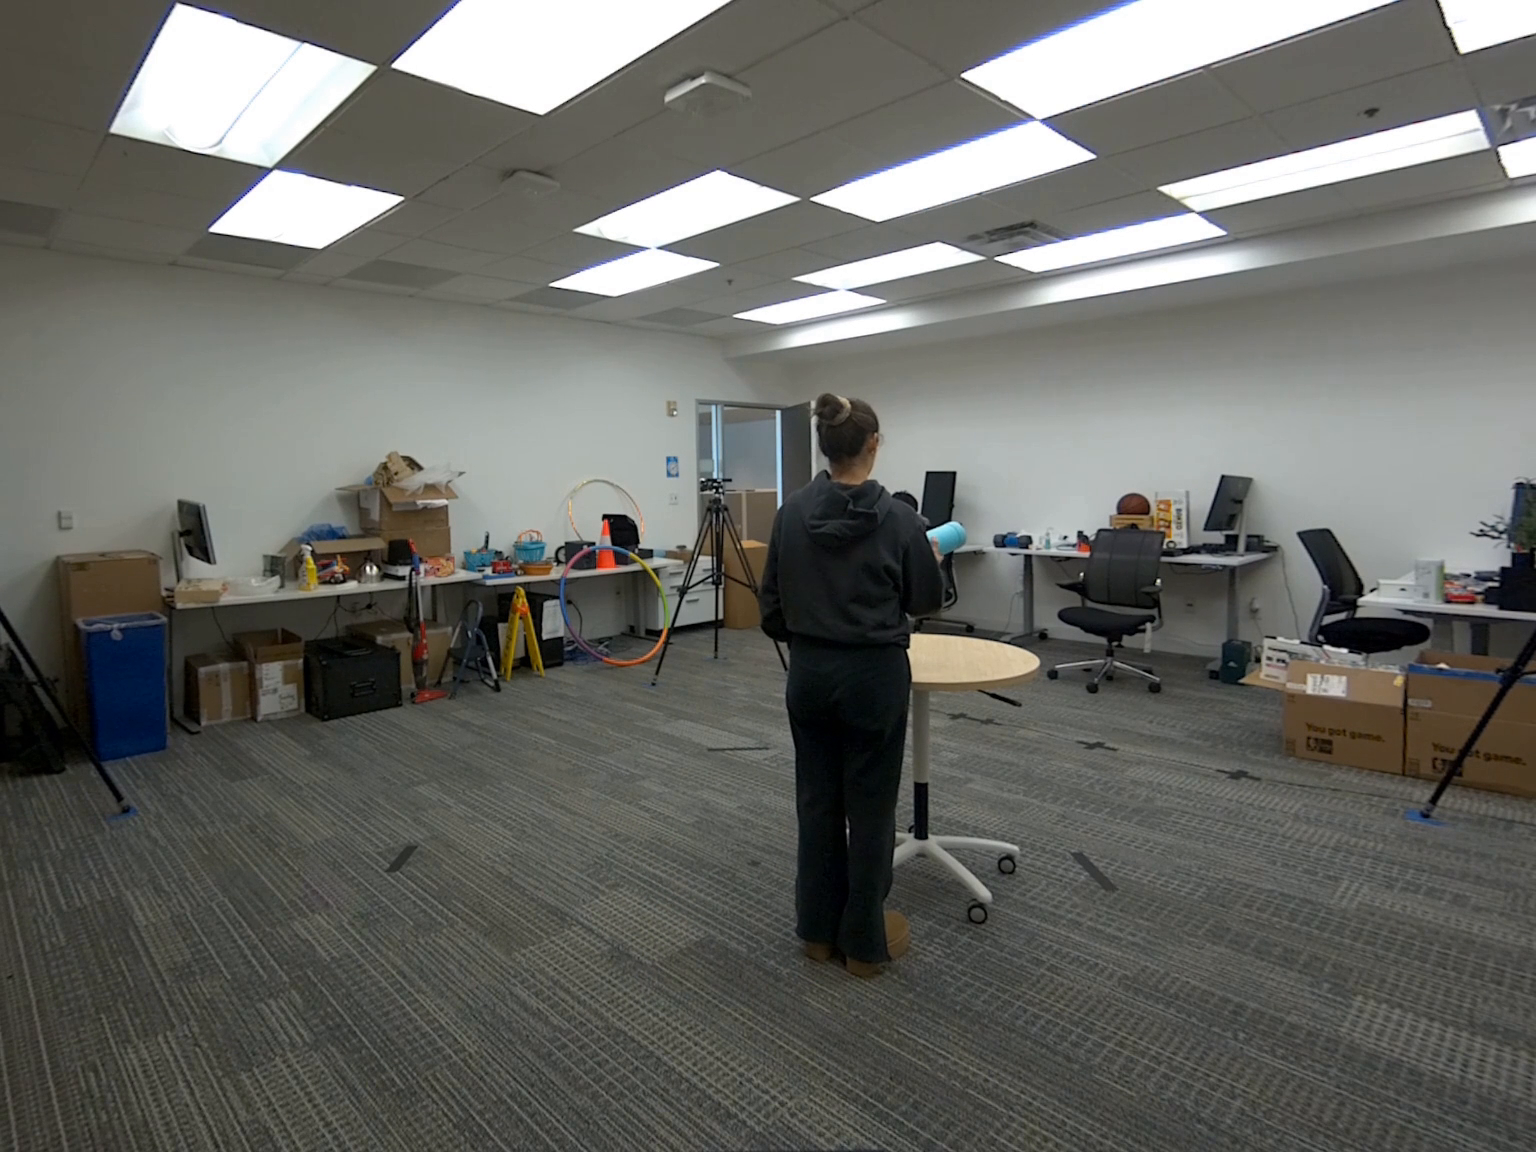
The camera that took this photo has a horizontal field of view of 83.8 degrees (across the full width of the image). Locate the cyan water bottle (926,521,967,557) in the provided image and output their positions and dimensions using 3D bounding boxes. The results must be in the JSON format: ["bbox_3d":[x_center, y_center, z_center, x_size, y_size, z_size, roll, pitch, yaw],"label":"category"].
[{"bbox_3d":[0.513,-0.092,2.722,0.280,0.091,0.095,-23,14,-25],"label":"cyan water bottle"}]
